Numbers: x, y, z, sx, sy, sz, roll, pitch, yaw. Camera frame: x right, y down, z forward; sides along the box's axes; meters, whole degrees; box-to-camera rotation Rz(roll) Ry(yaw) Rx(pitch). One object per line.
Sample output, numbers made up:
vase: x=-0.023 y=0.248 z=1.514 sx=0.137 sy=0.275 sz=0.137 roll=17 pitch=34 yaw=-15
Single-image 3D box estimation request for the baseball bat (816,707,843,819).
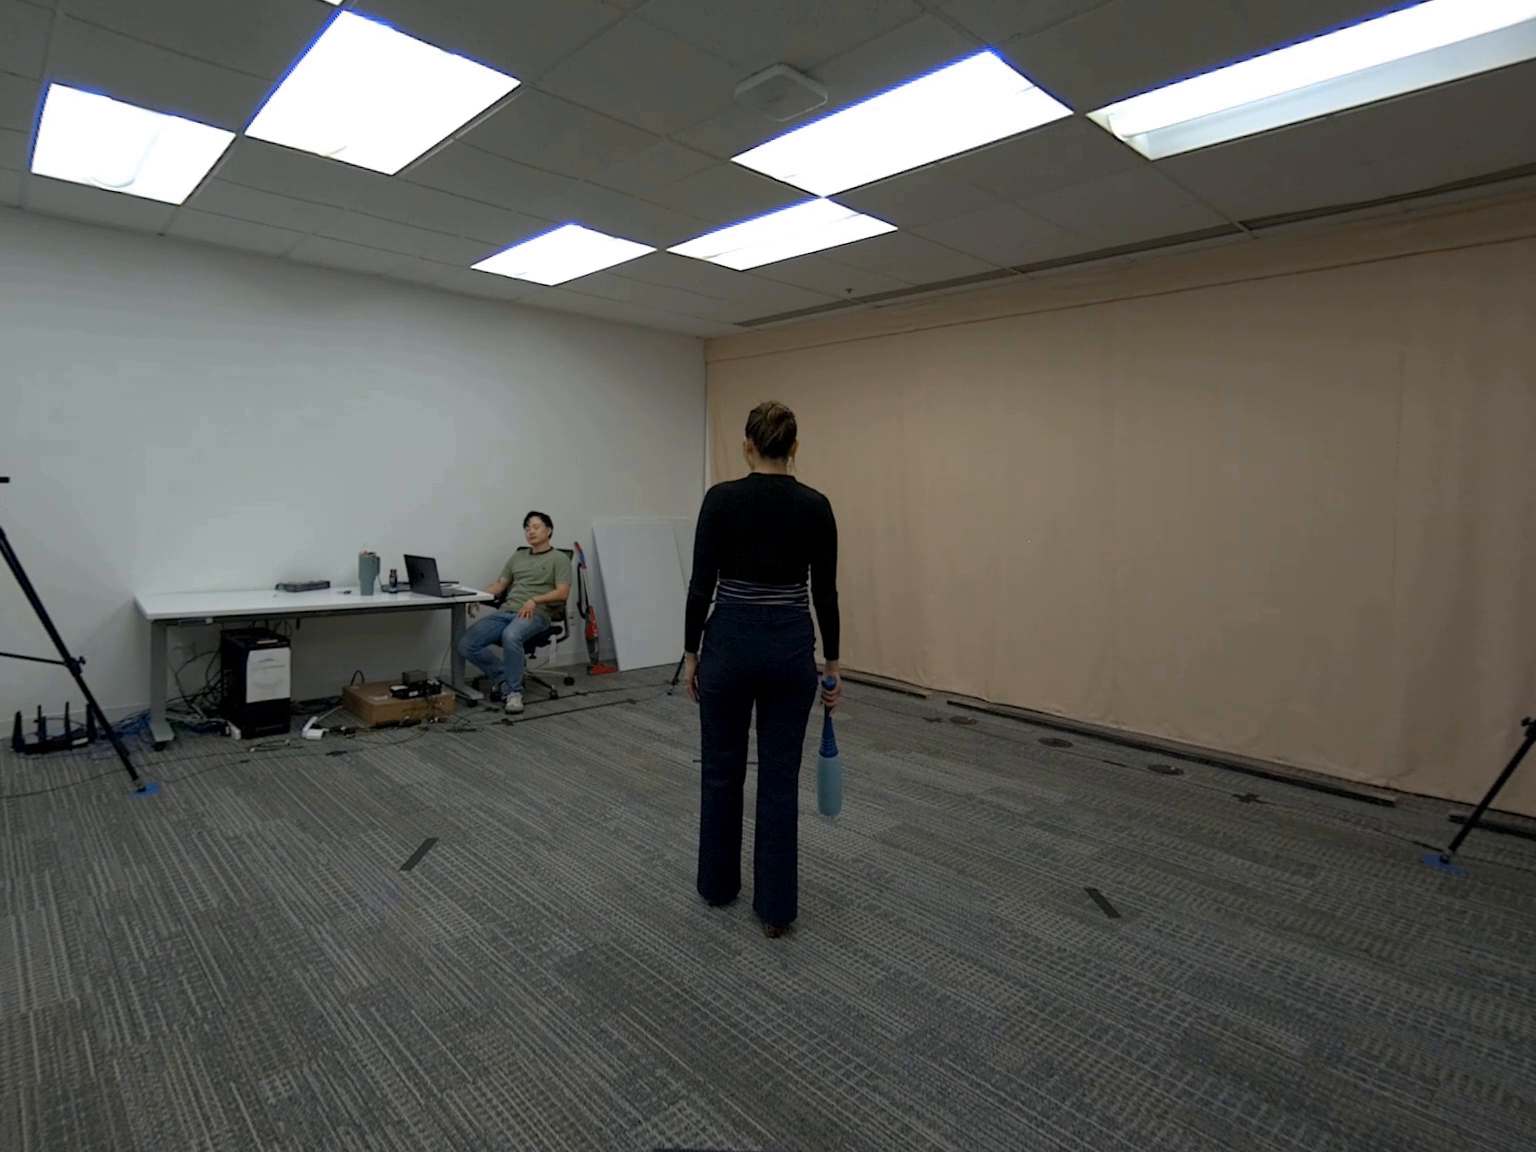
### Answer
baseball bat: x=0.202 y=0.598 z=2.918 sx=0.089 sy=0.534 sz=0.090 roll=-2 pitch=22 yaw=0
